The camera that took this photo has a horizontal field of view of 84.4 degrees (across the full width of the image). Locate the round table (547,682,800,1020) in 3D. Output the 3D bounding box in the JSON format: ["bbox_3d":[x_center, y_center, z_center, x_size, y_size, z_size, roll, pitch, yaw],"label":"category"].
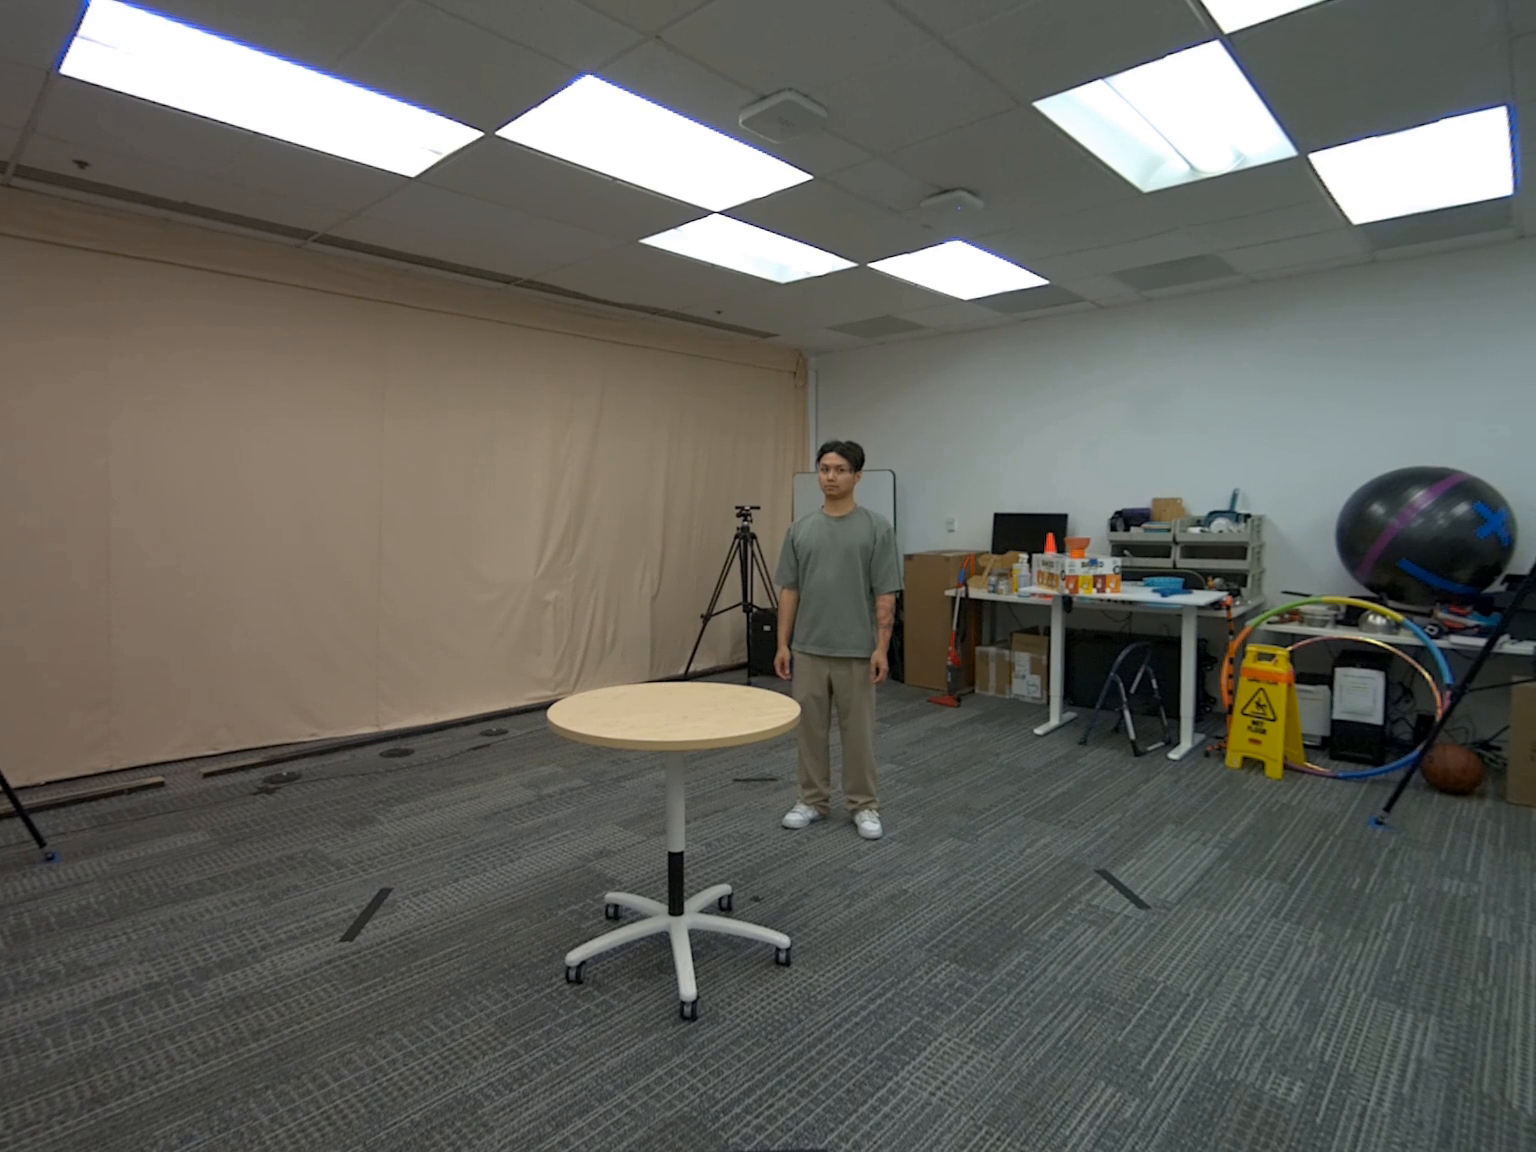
[{"bbox_3d":[-0.266,0.789,2.580,0.784,0.785,0.788,-1,4,-2],"label":"round table"}]
